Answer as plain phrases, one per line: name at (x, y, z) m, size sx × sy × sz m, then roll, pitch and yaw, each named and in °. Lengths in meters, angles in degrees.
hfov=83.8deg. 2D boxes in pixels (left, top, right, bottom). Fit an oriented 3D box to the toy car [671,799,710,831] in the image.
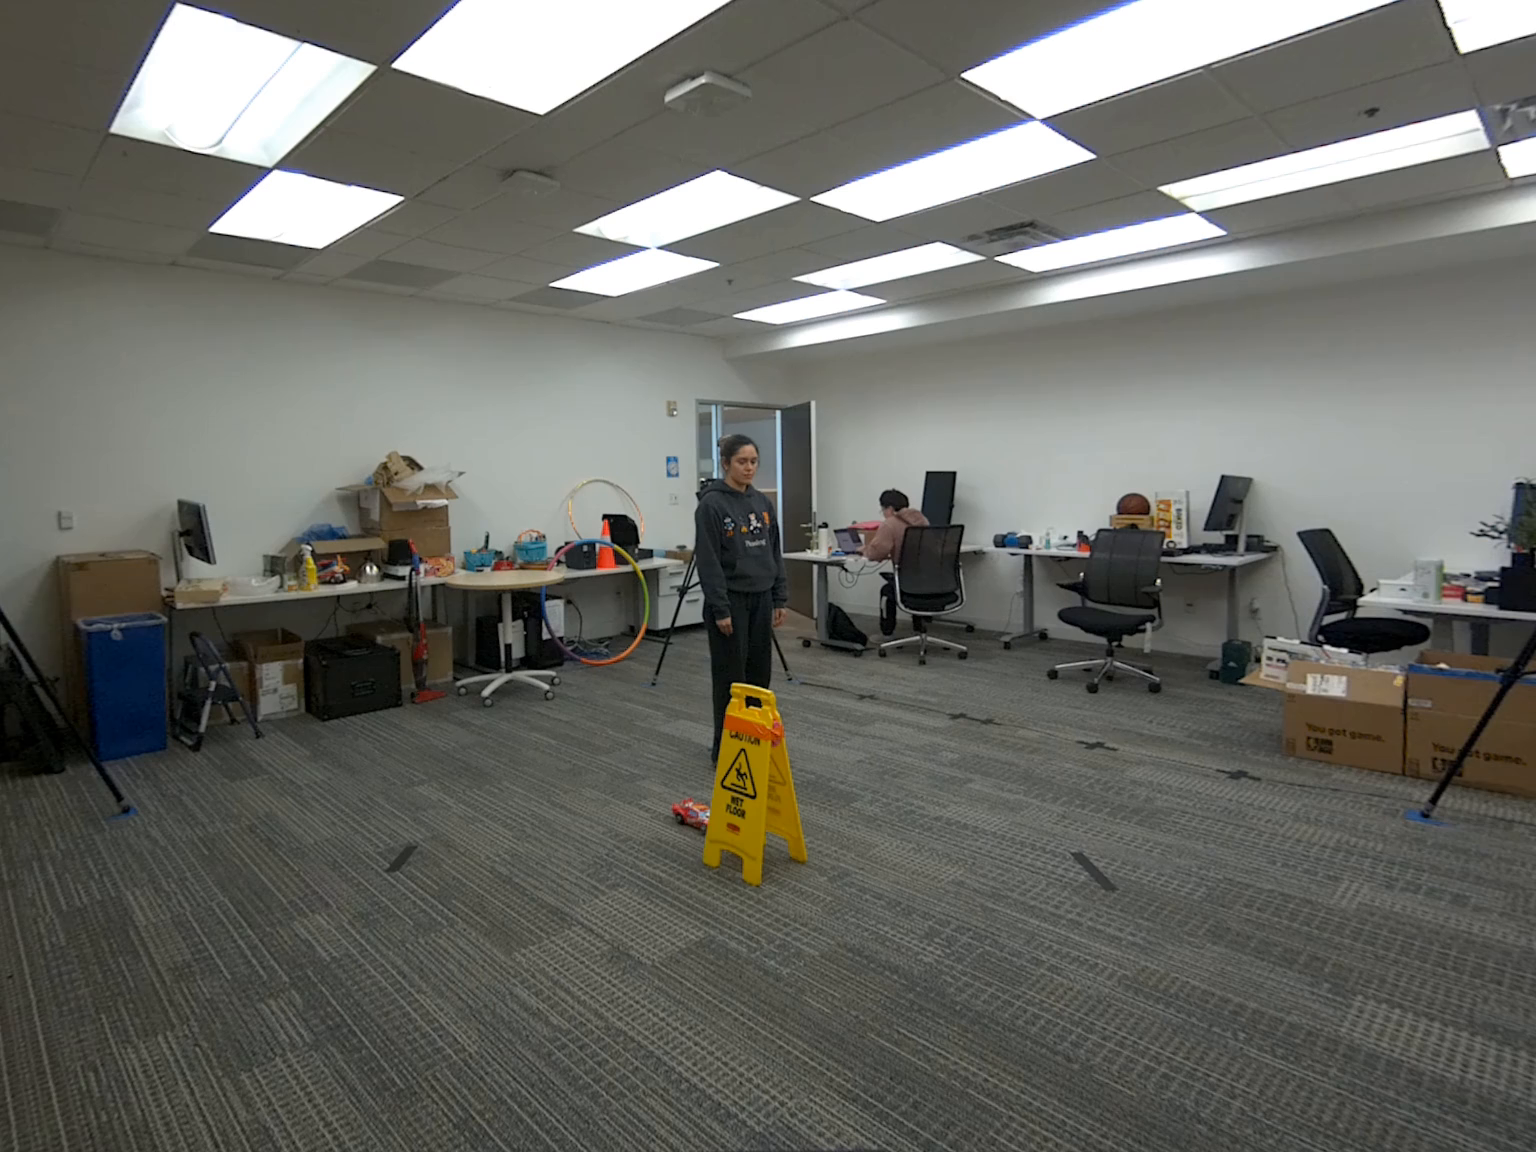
toy car at (-0.285, 0.978, 3.457) m, size 0.127 × 0.082 × 0.264 m, roll -5°, pitch 18°, yaw -42°
